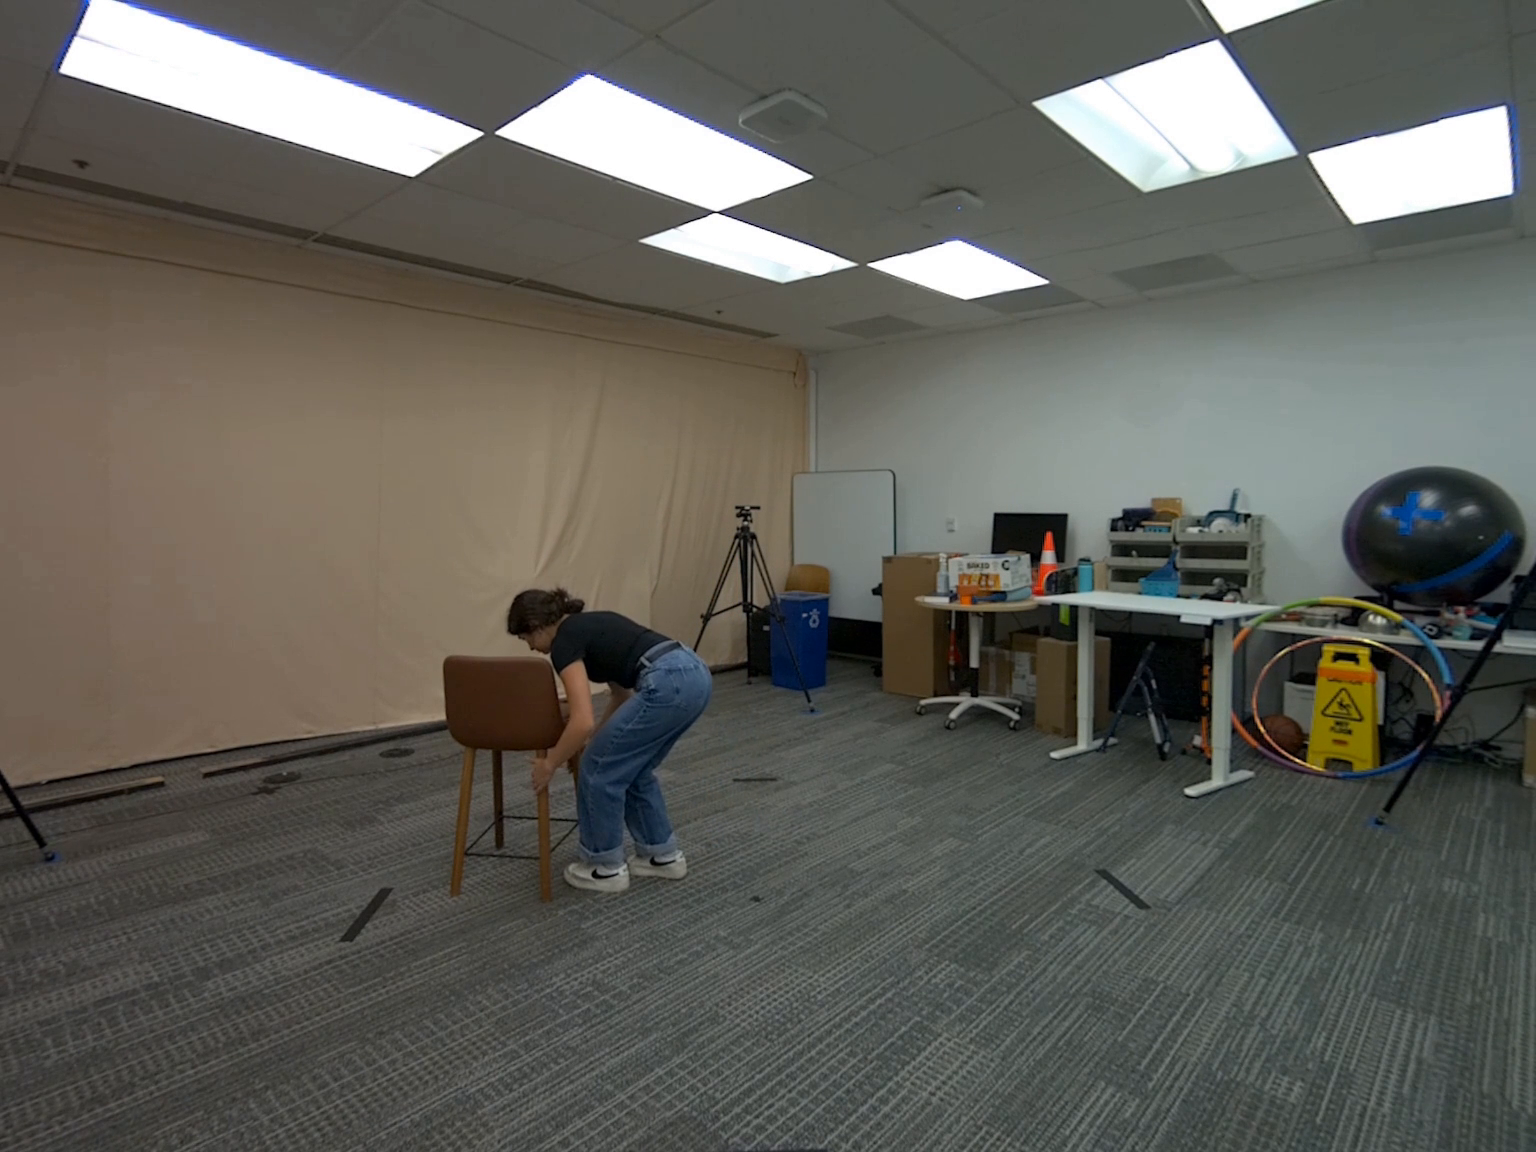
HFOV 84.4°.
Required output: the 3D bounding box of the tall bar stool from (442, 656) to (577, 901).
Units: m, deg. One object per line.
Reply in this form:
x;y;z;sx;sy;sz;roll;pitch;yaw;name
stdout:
-0.943;0.701;3.197;0.461;0.887;0.464;0;4;8;tall bar stool
